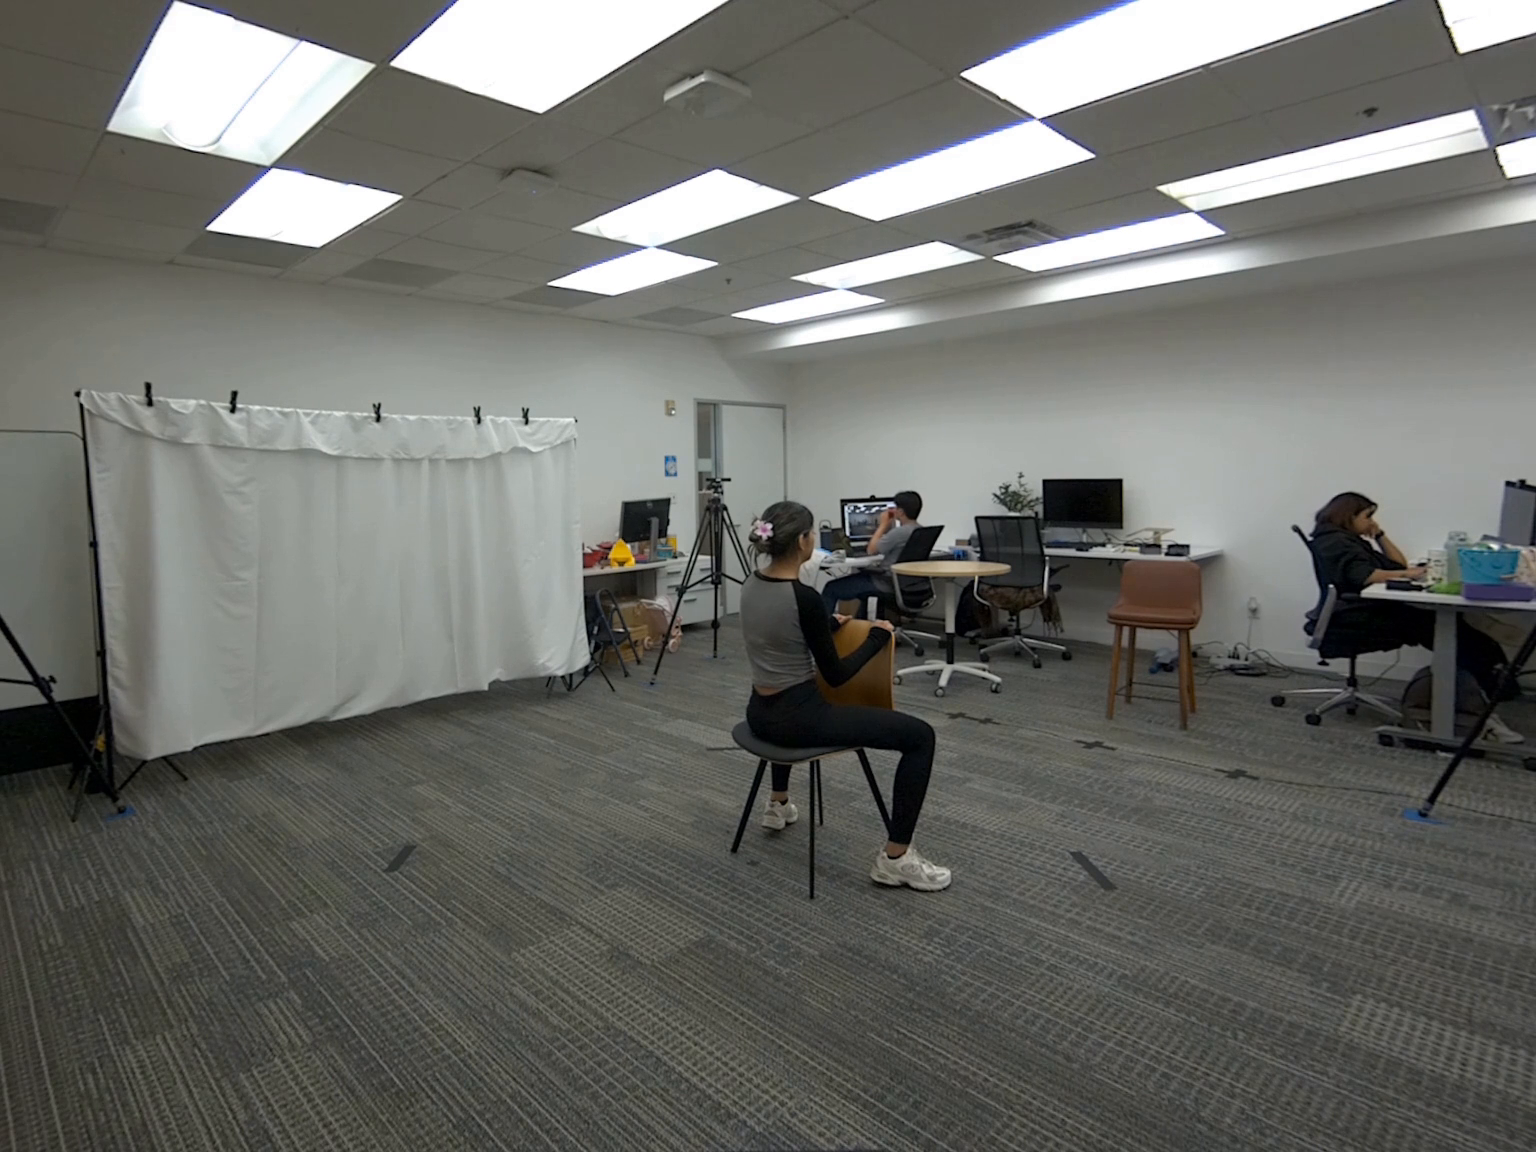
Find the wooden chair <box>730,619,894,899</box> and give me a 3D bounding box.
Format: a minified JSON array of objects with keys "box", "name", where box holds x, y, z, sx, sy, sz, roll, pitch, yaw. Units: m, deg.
[{"box":[0.167,0.613,3.102,0.508,0.877,0.492,3,1,-37],"name":"wooden chair"}]
